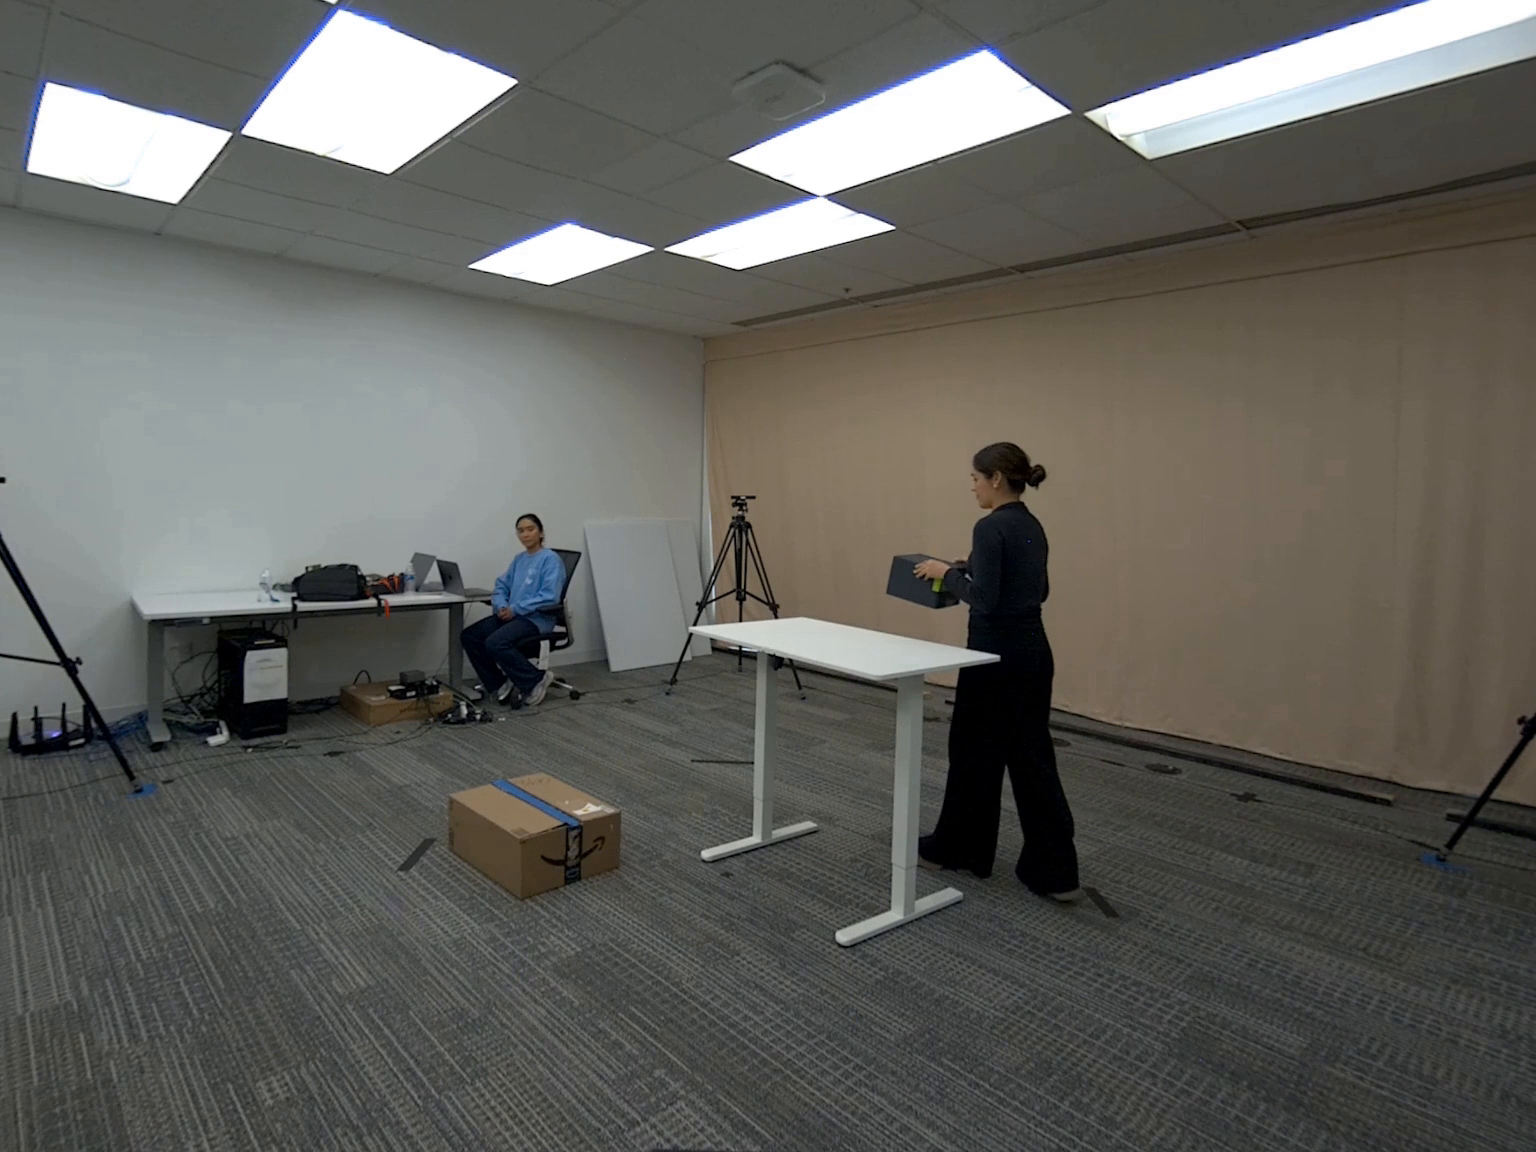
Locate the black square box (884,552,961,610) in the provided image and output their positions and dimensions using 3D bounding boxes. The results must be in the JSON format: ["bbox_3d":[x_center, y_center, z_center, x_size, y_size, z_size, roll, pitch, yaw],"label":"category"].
[{"bbox_3d":[0.616,0.014,3.302,0.223,0.155,0.223,17,13,35],"label":"black square box"}]
